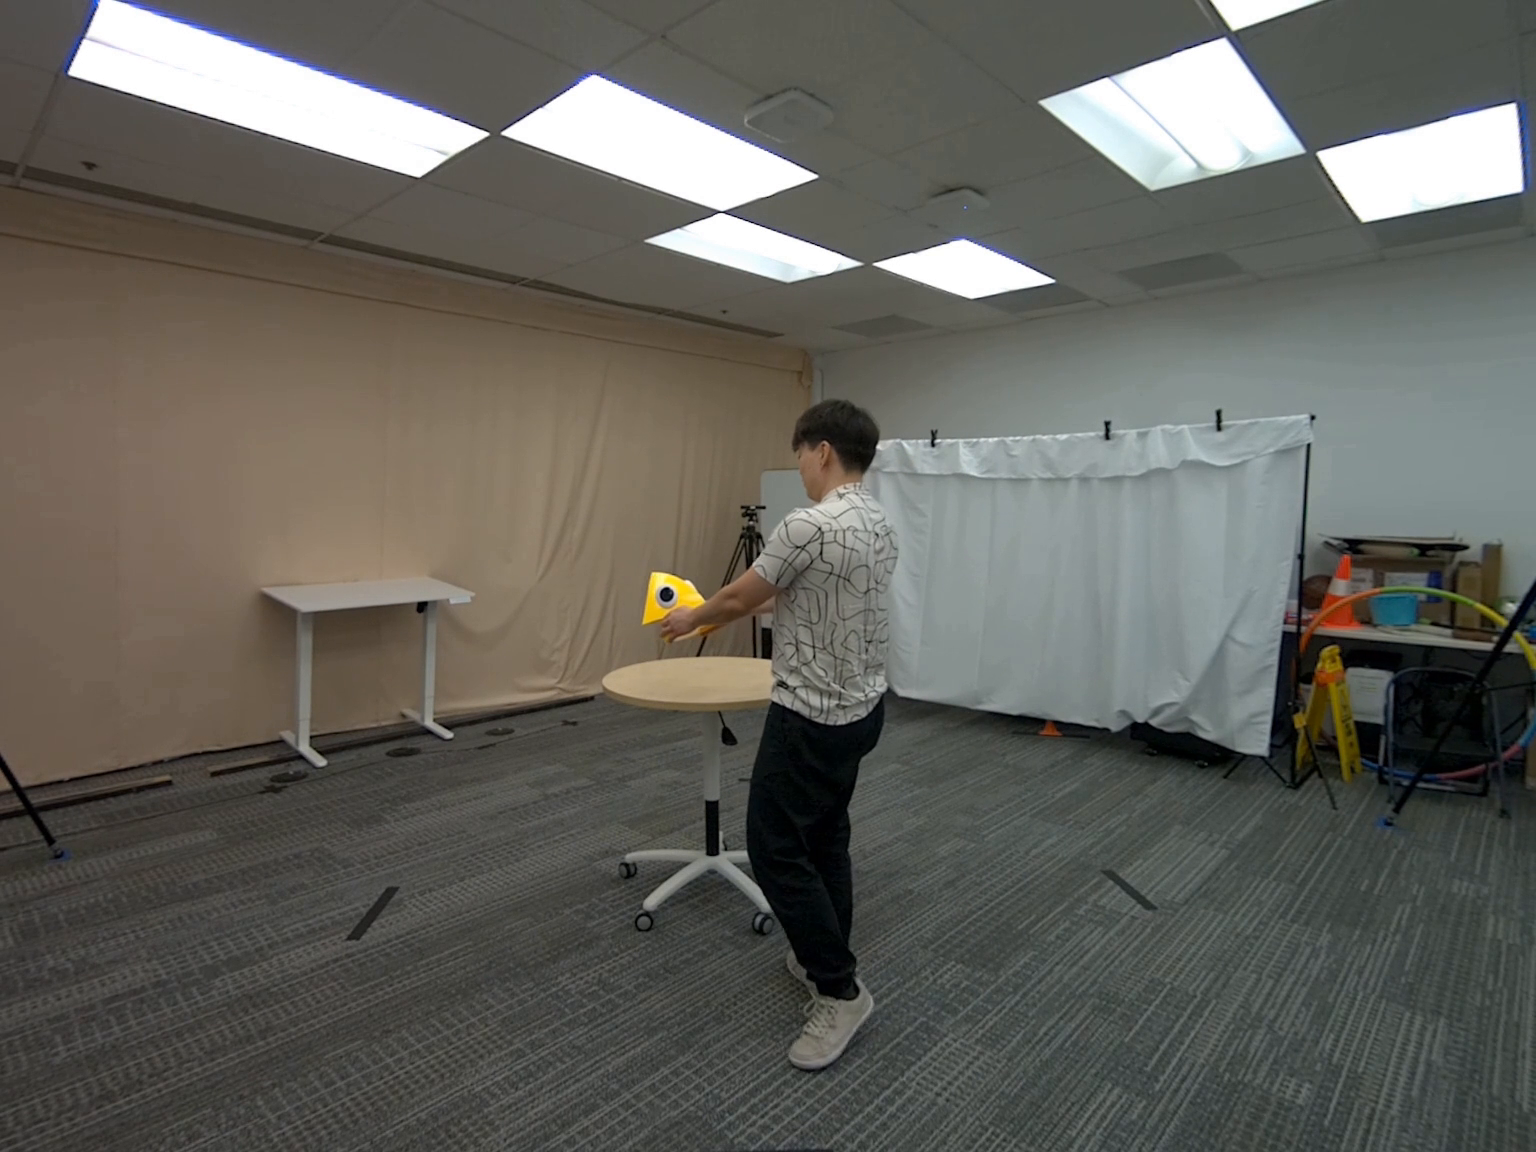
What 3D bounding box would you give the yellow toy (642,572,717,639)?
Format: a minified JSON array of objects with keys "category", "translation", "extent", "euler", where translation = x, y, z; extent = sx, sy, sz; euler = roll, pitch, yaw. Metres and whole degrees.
[{"category":"yellow toy","translation":[-0.277,0.071,2.602],"extent":[0.196,0.233,0.199],"euler":[-31,-13,32]}]
